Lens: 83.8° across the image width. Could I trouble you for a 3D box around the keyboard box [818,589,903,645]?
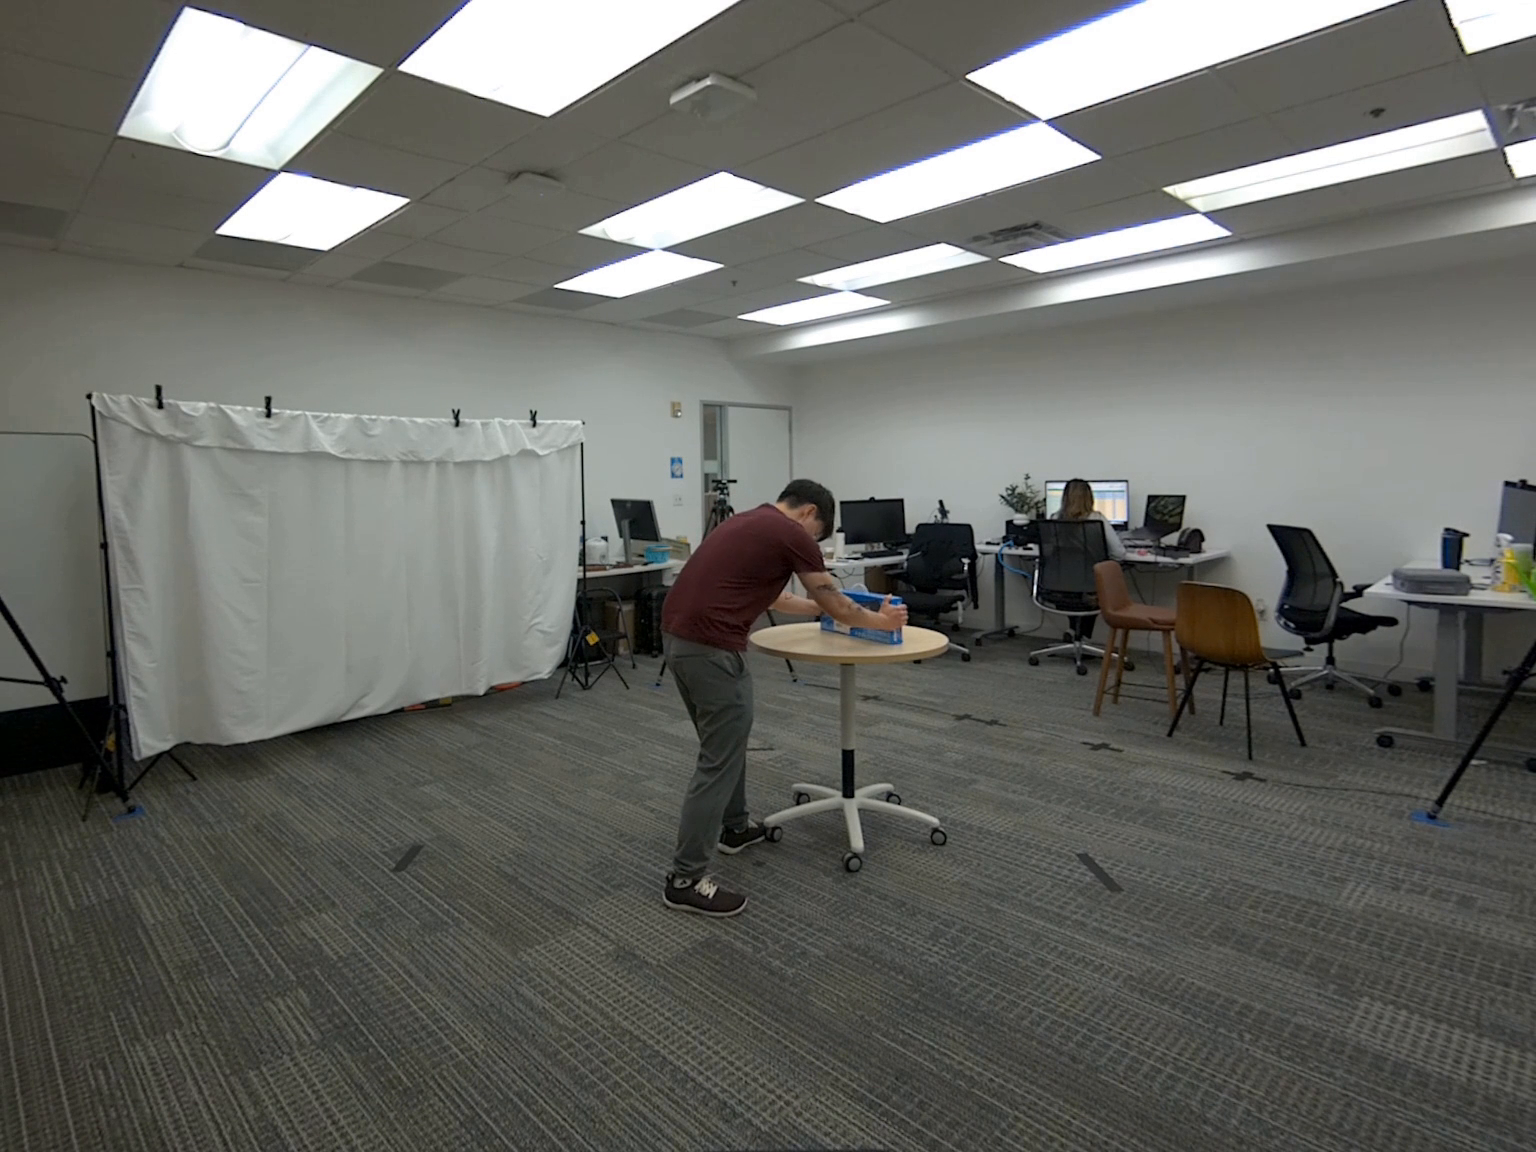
[{"bbox_3d":[0.365,0.157,3.364,0.057,0.175,0.449,1,3,-32],"label":"keyboard box"}]
